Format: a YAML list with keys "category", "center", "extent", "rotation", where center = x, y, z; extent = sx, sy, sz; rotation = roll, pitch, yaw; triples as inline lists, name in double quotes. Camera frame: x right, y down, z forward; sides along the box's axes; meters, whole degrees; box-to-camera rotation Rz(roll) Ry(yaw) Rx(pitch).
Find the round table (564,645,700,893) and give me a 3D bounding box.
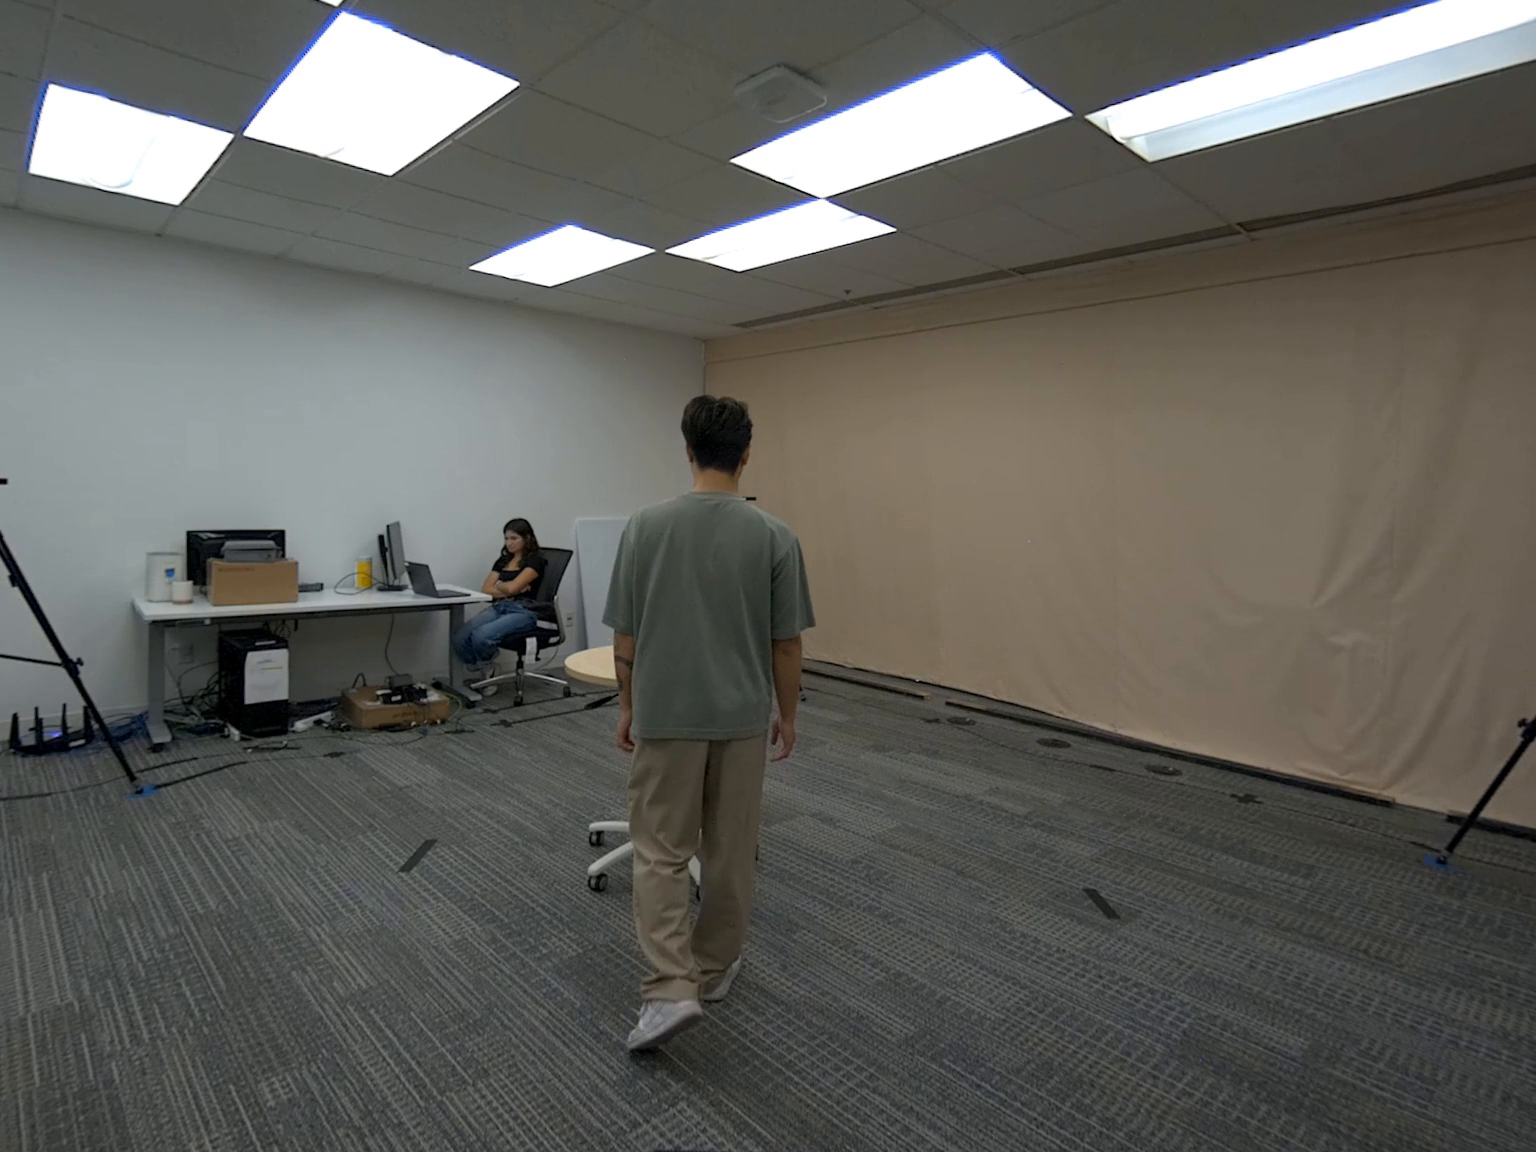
- category: "round table"
  center: [-0.392, 0.704, 3.185]
  extent: [0.784, 0.784, 0.788]
  rotation: [1, 4, -1]
